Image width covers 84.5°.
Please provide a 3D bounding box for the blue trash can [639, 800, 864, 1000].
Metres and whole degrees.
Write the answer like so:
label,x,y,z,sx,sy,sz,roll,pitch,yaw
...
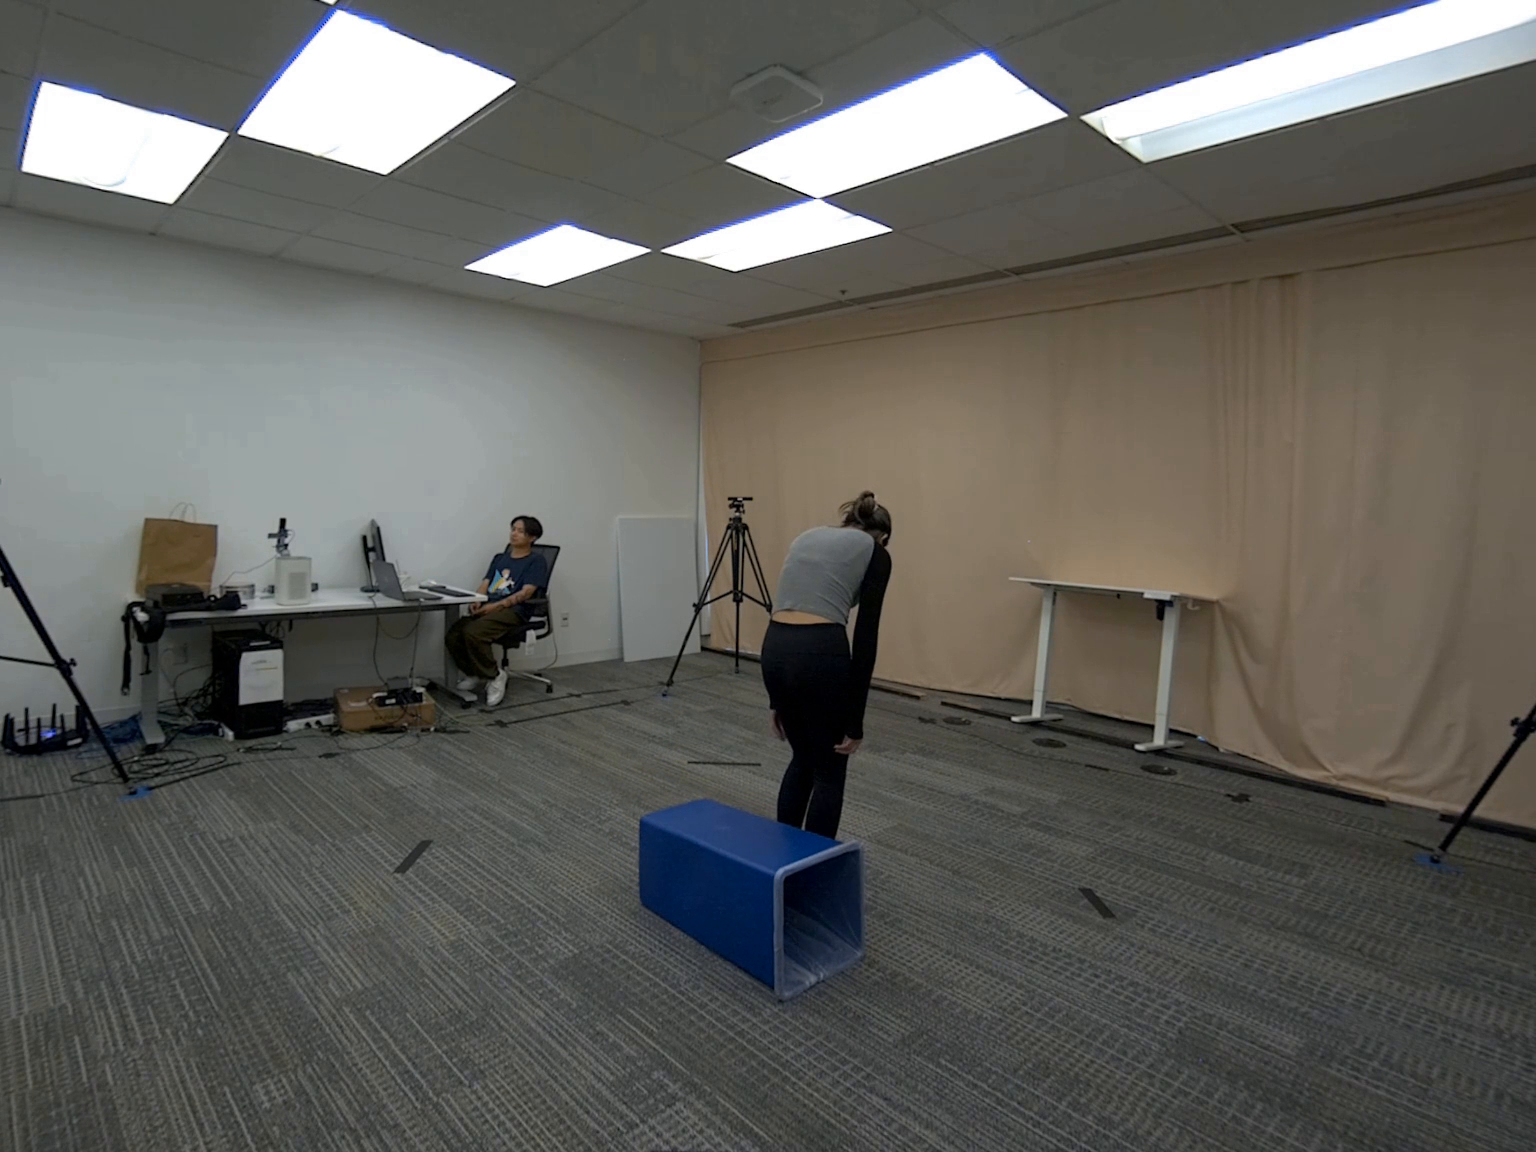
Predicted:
label,x,y,z,sx,sy,sz,roll,pitch,yaw
blue trash can,-0.093,0.972,2.697,0.369,0.373,0.731,-3,5,-43
